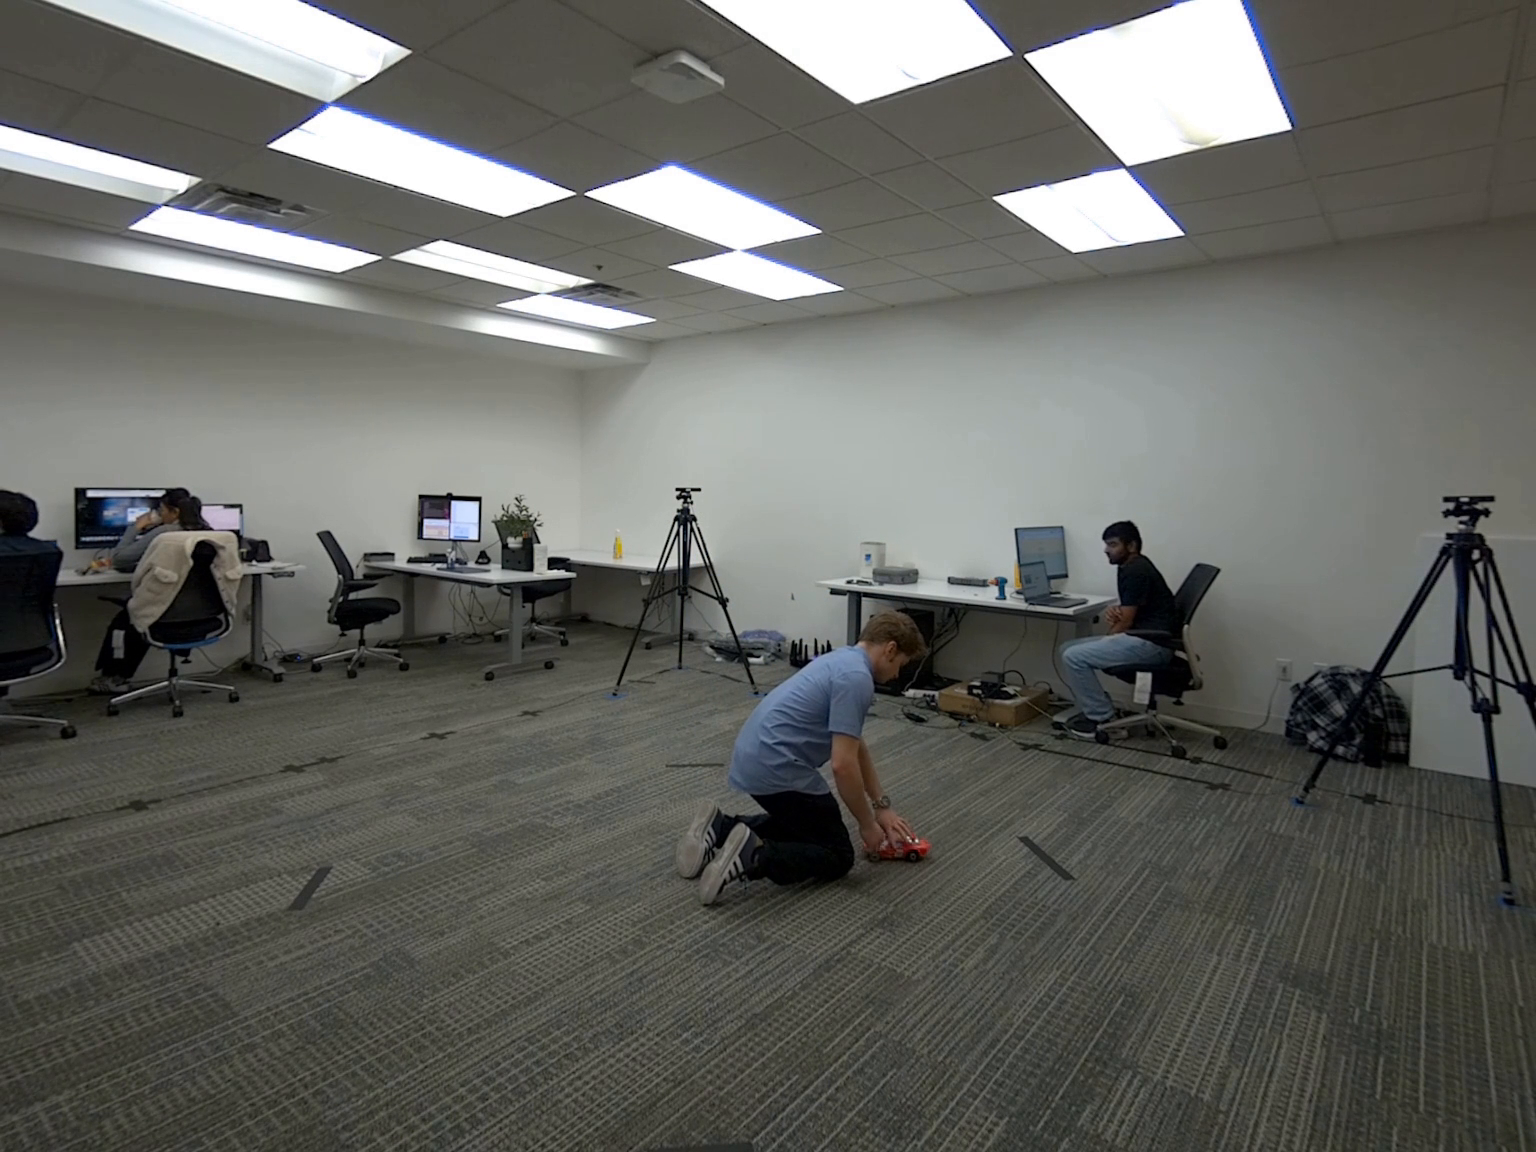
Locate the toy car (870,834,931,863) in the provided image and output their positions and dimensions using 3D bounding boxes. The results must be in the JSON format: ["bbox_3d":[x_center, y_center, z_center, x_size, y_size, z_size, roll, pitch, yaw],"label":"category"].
[{"bbox_3d":[0.498,1.040,3.247,0.254,0.083,0.131,-10,6,-1],"label":"toy car"}]
